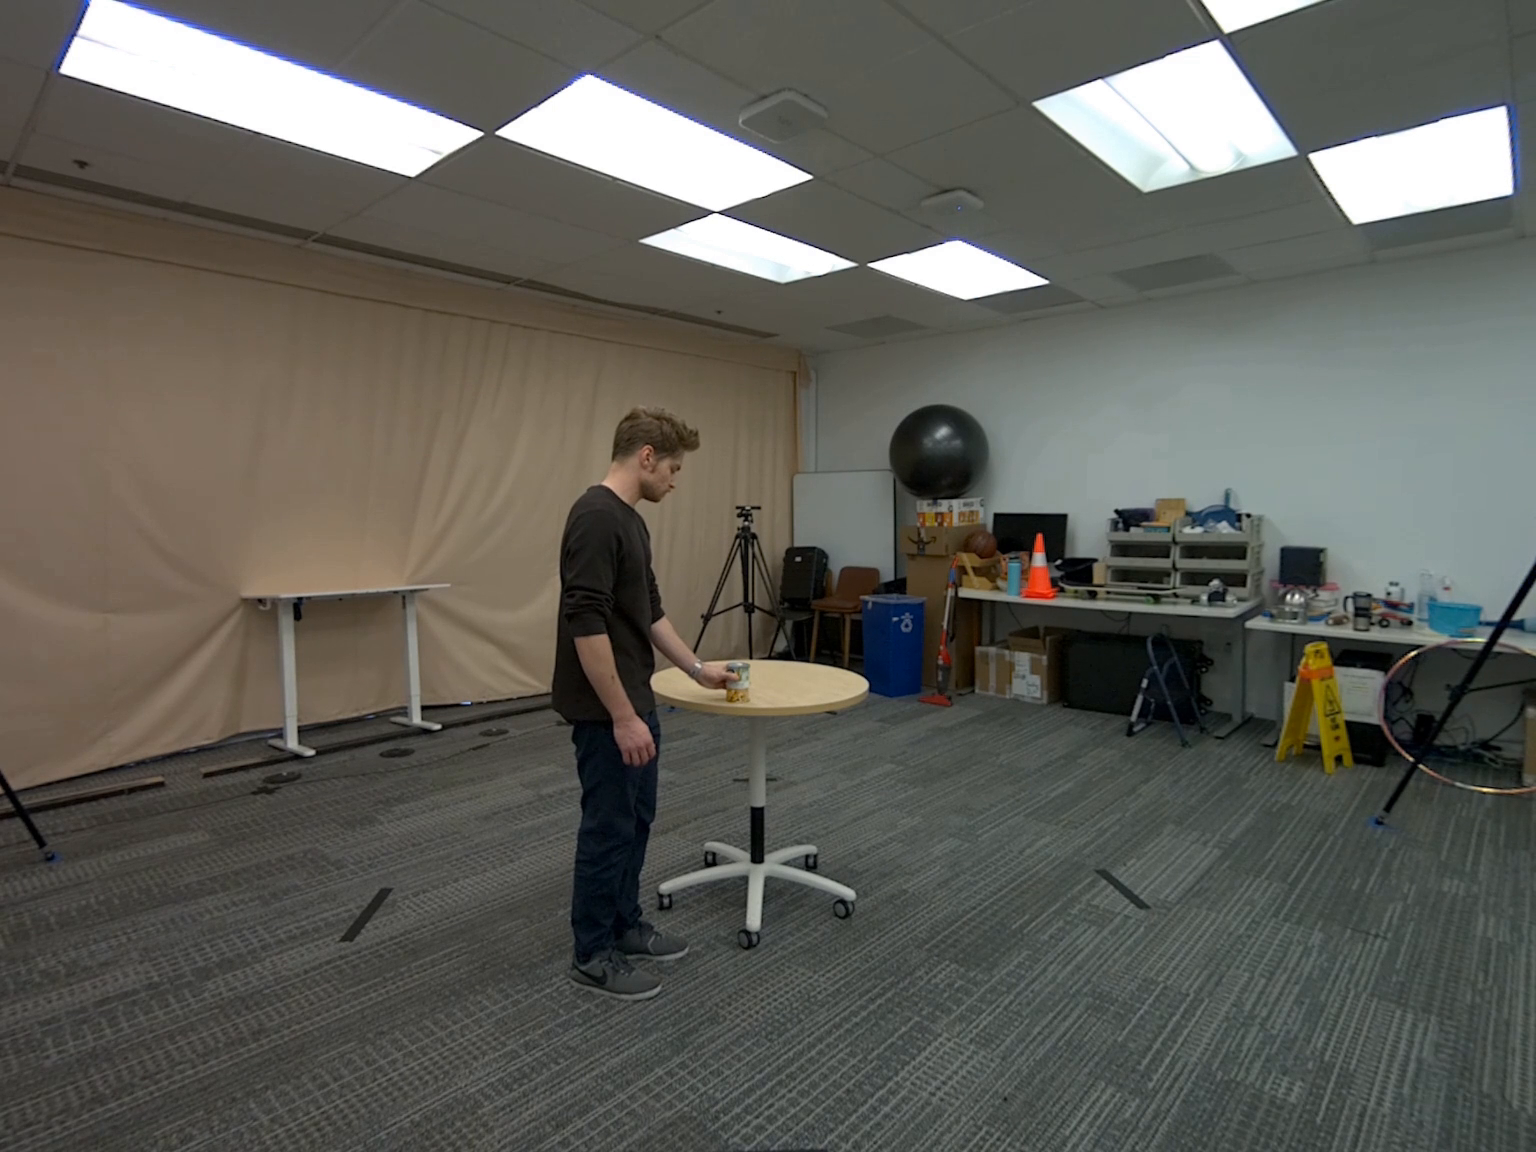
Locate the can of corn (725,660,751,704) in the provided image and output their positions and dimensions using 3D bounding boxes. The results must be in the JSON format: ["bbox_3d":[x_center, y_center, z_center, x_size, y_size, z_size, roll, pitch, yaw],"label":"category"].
[{"bbox_3d":[-0.093,0.334,2.627,0.074,0.111,0.074,-3,3,-2],"label":"can of corn"}]
